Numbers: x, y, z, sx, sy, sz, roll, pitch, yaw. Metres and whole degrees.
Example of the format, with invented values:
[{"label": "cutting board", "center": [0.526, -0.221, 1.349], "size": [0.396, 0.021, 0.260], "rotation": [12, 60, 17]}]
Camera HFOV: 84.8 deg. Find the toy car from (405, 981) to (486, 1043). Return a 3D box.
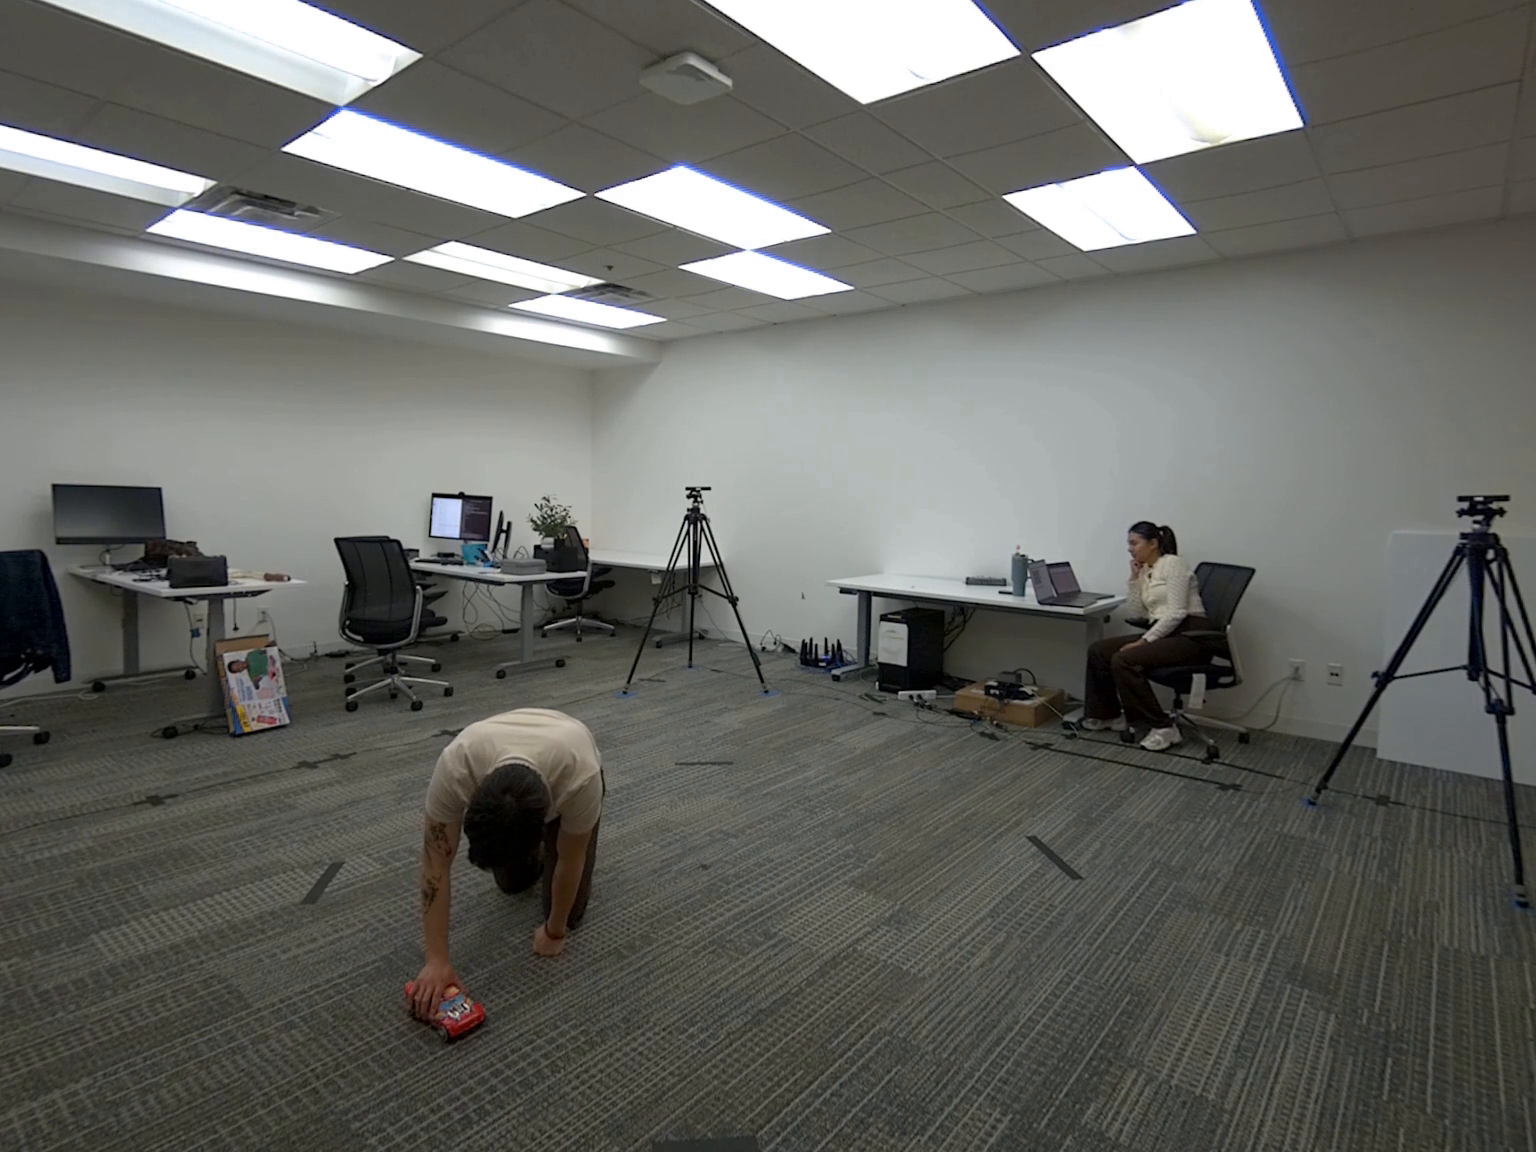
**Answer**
[{"label": "toy car", "center": [-0.859, 1.118, 2.216], "size": [0.264, 0.082, 0.126], "rotation": [17, 15, 38]}]
